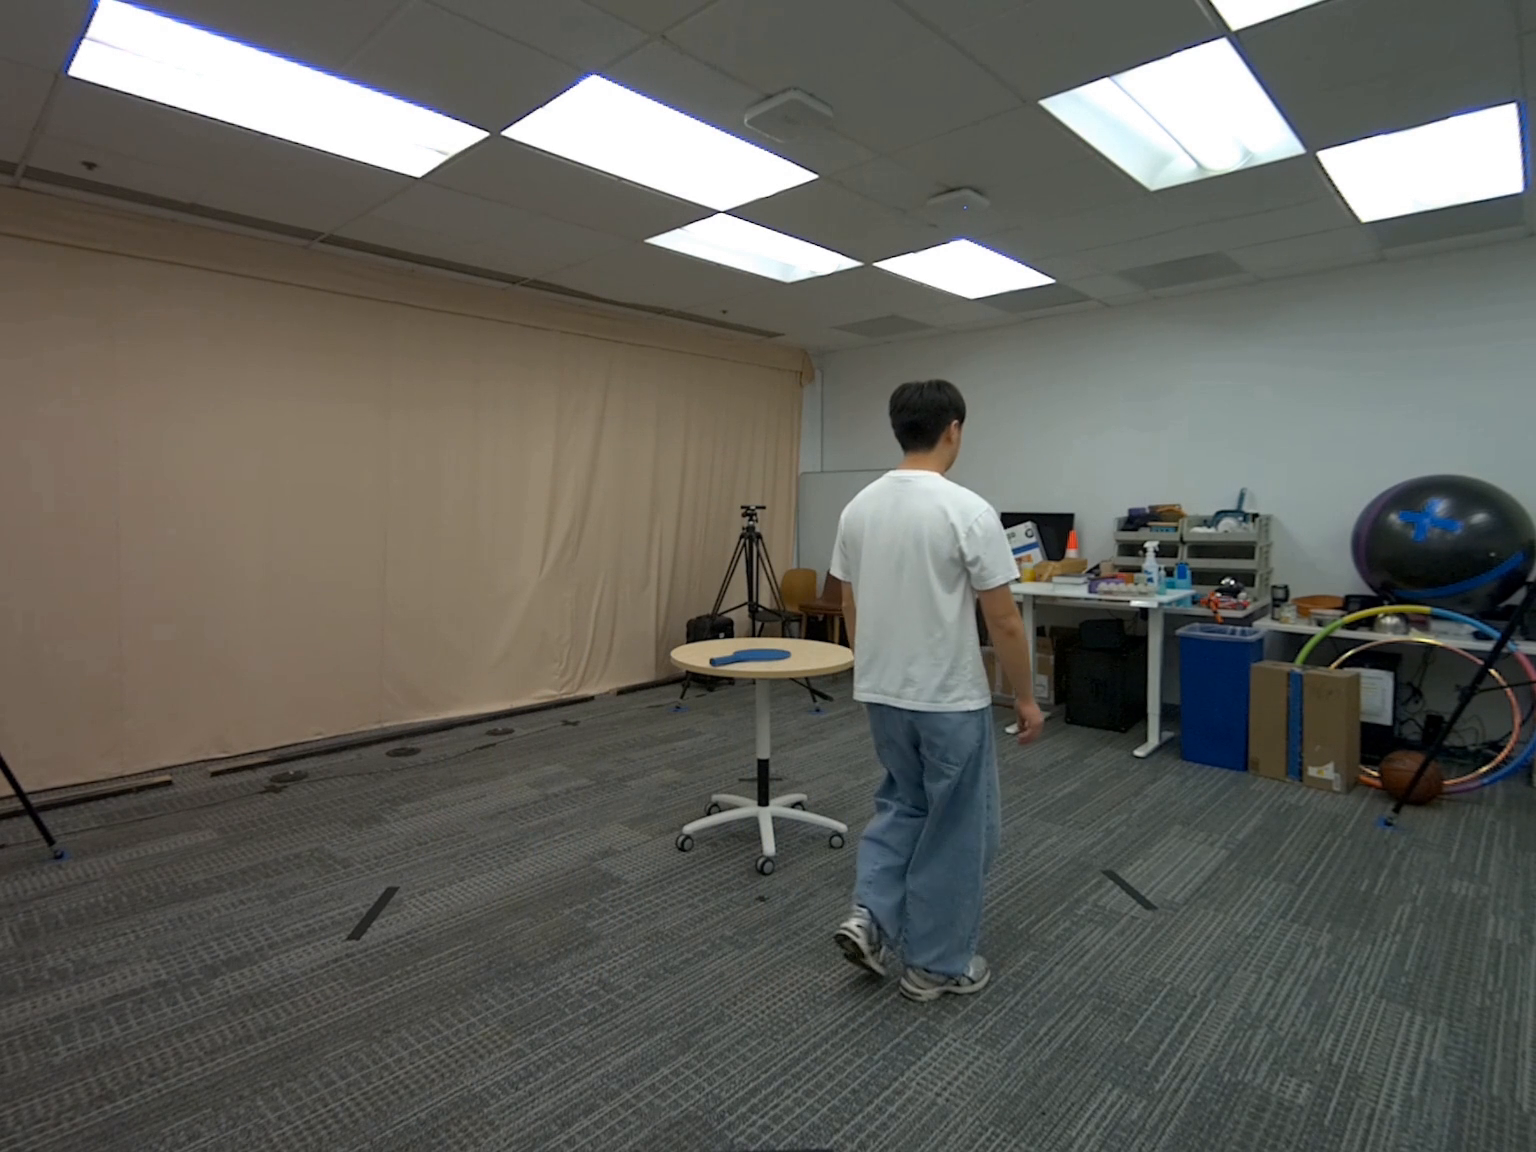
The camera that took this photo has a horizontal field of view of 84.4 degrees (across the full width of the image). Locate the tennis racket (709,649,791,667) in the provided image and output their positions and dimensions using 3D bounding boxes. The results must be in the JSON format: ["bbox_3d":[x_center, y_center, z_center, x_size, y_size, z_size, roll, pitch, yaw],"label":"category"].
[{"bbox_3d":[-0.082,0.322,3.349,0.221,0.032,0.419,4,4,42],"label":"tennis racket"}]
